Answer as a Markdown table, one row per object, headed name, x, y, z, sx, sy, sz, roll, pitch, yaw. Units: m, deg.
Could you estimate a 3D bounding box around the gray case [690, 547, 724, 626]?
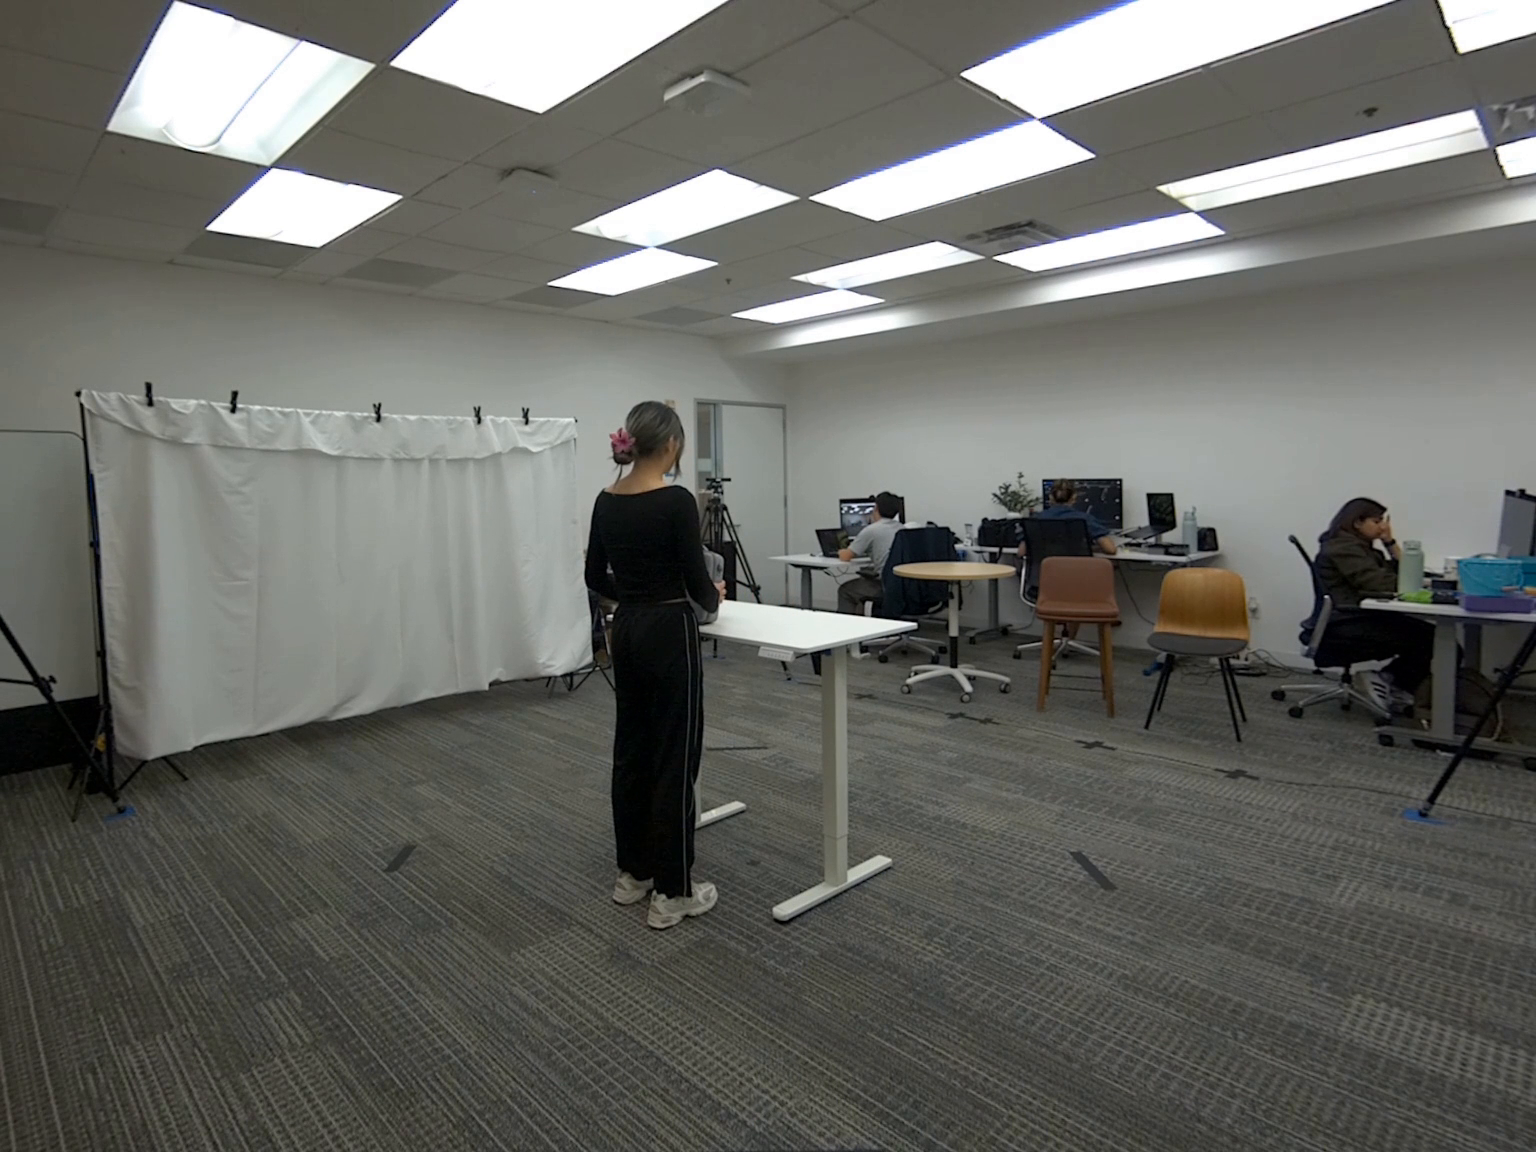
| name | x | y | z | sx | sy | sz | roll | pitch | yaw |
| --- | --- | --- | --- | --- | --- | --- | --- | --- | --- |
| gray case | -0.286 | 0.035 | 3.092 | 0.264 | 0.262 | 0.101 | 2 | -10 | 33 |
